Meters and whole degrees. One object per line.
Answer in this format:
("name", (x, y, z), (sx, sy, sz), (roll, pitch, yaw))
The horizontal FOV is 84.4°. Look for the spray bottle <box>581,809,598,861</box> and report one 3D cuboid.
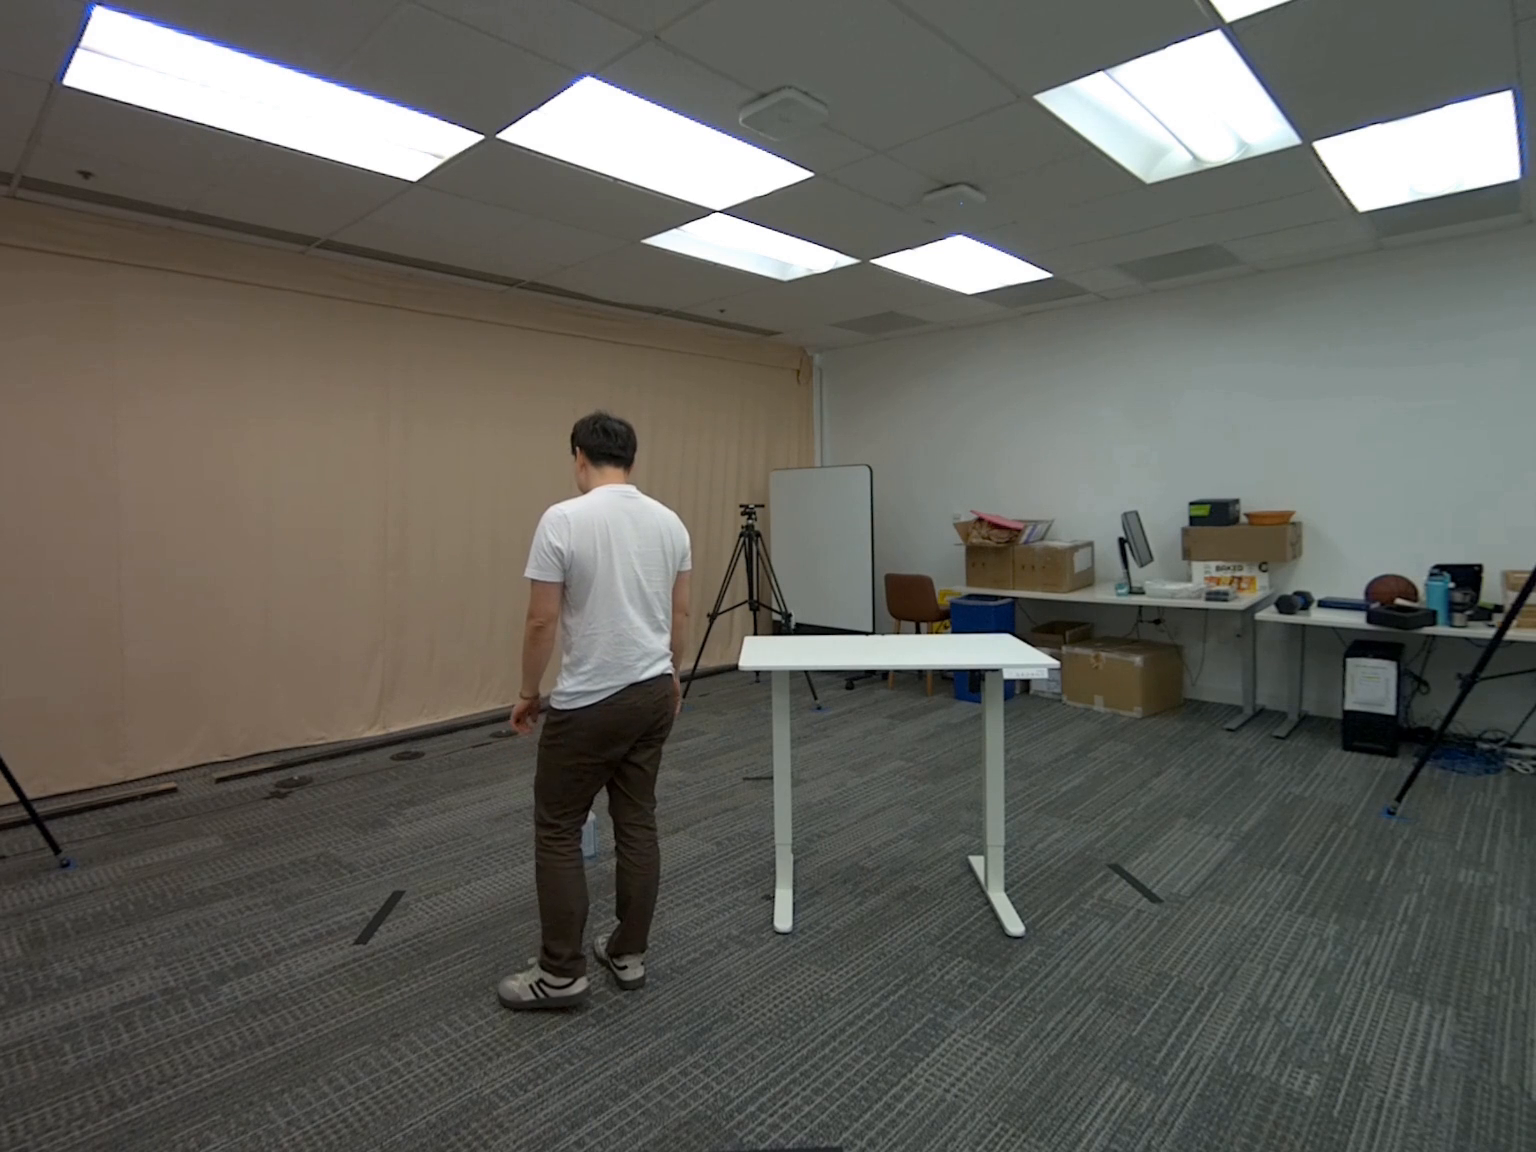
("spray bottle", (-0.738, 0.986, 3.383), (0.092, 0.297, 0.085), (-1, 2, 25))
